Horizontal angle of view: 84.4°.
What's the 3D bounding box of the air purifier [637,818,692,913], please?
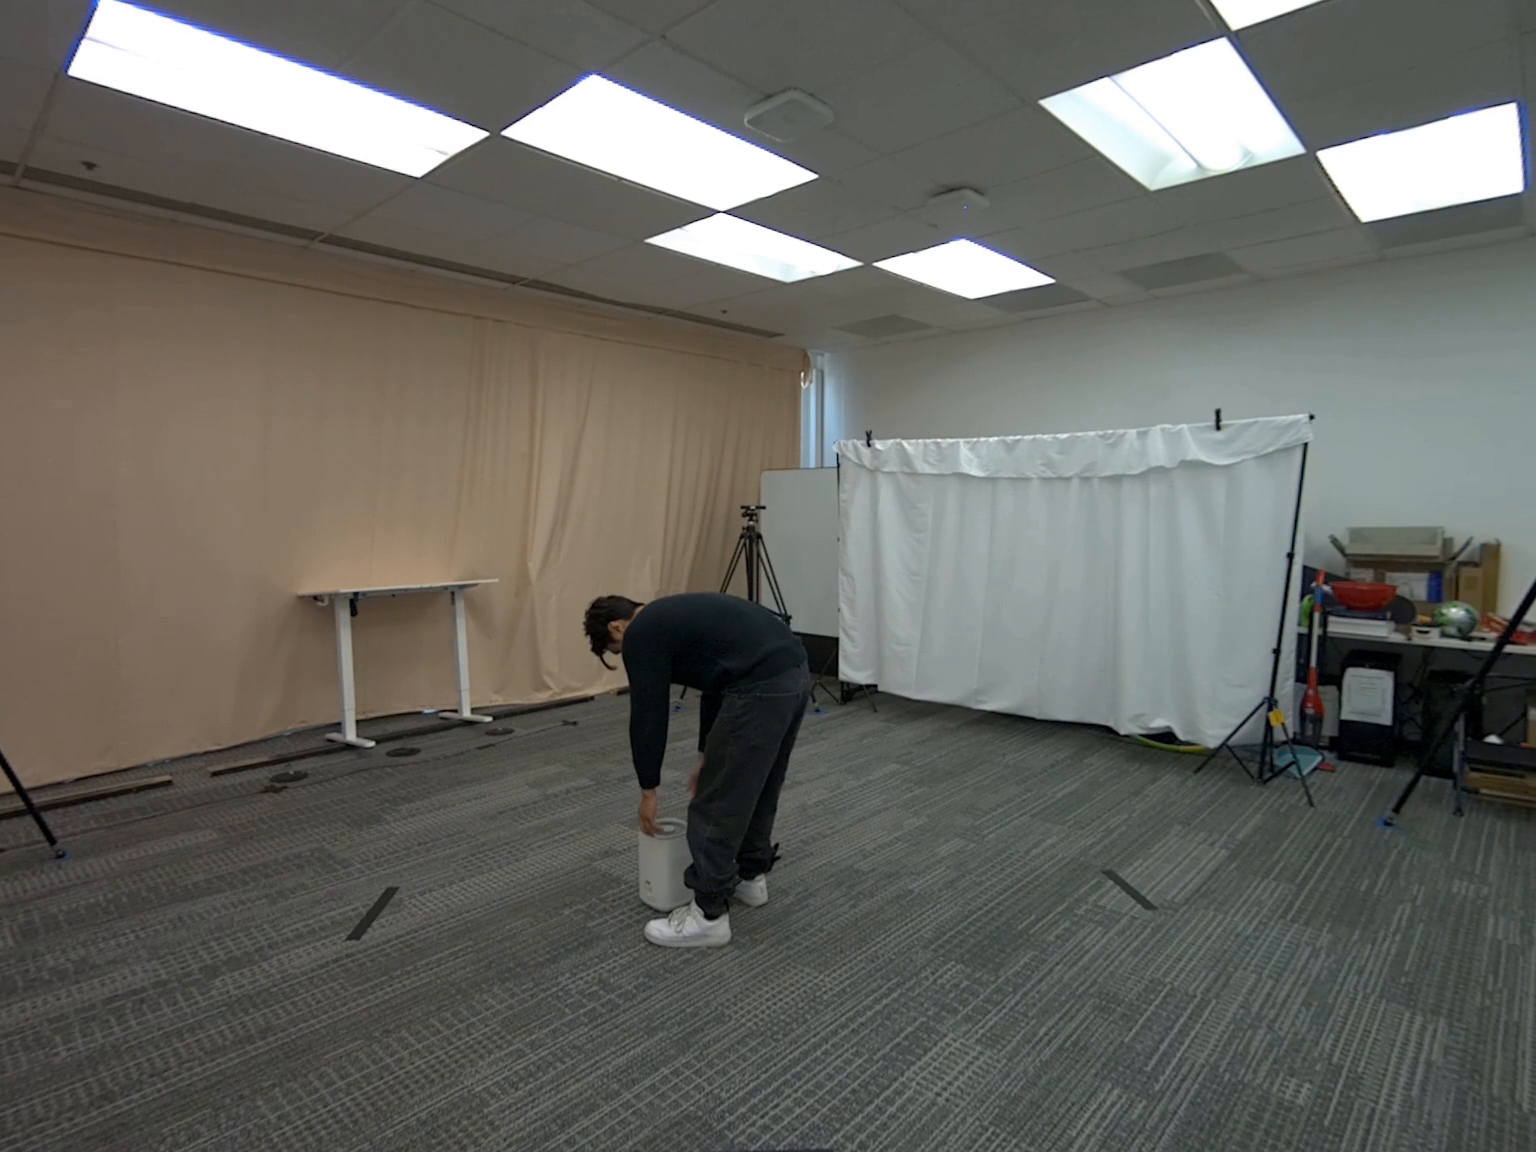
[{"bbox_3d":[-0.352,1.018,2.955,0.177,0.265,0.166,3,6,44],"label":"air purifier"}]
